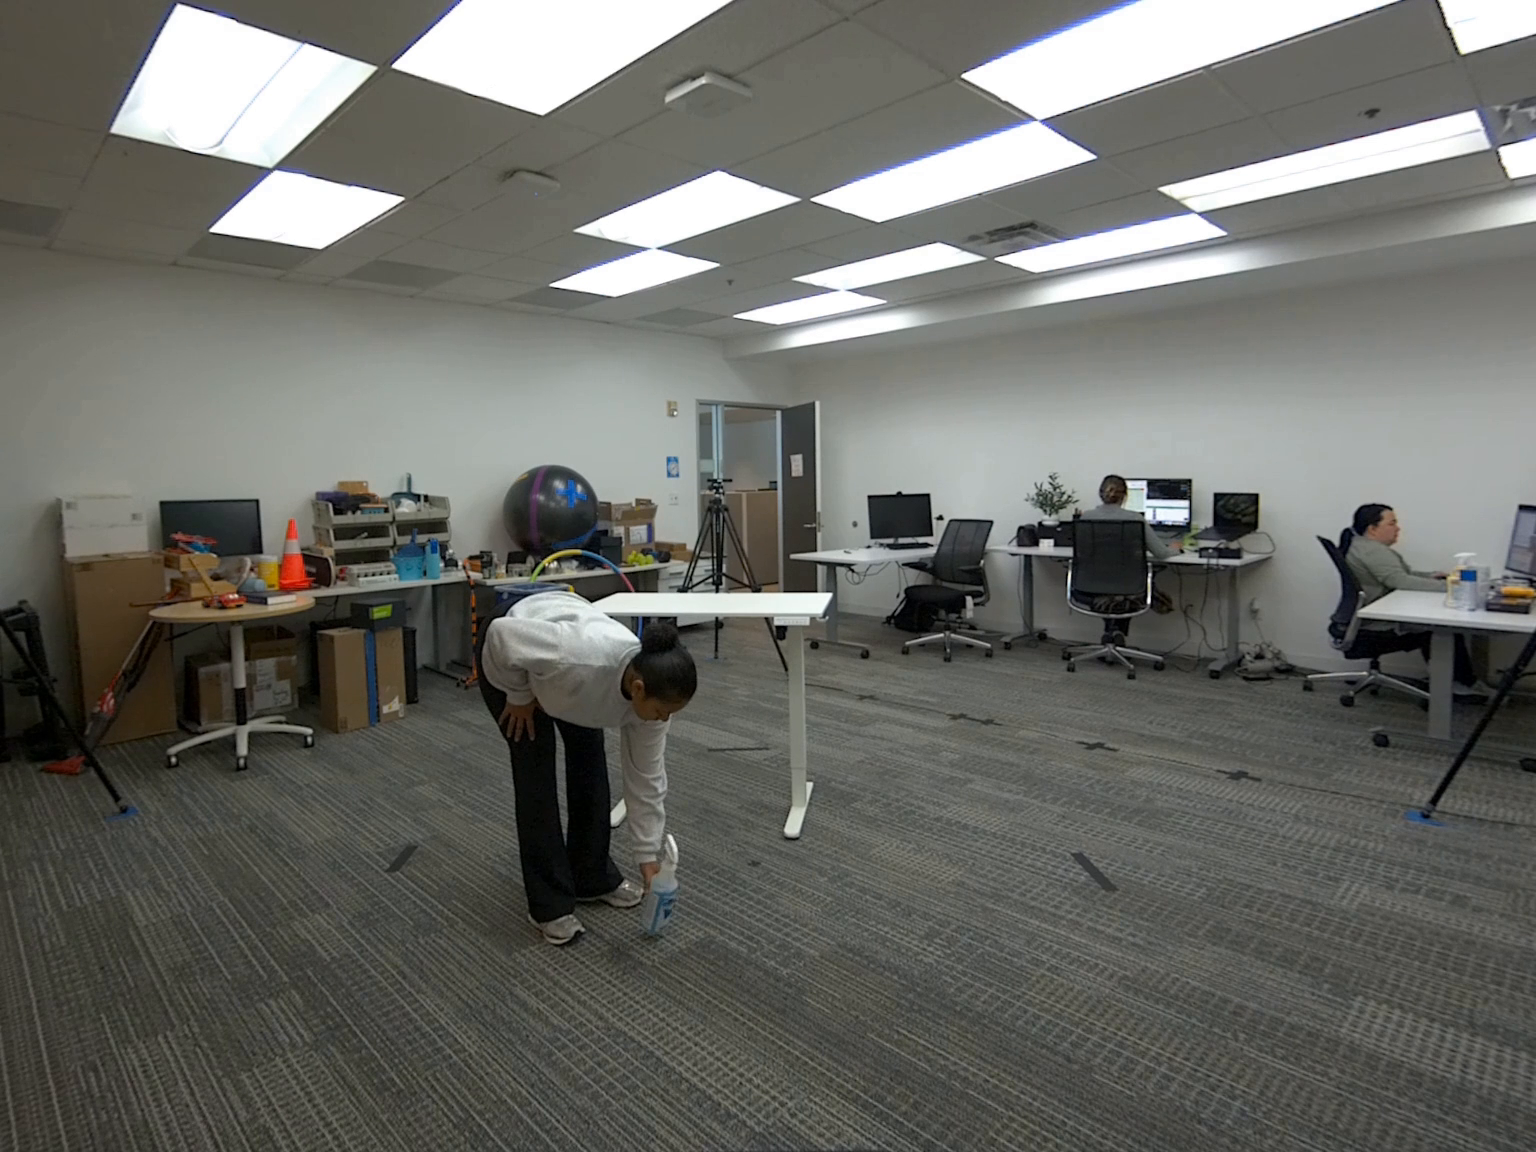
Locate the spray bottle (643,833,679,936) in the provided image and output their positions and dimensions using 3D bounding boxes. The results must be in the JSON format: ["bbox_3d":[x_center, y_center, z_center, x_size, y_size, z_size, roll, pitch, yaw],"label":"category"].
[{"bbox_3d":[-0.319,0.936,2.581,0.087,0.295,0.091,14,14,-2],"label":"spray bottle"}]
